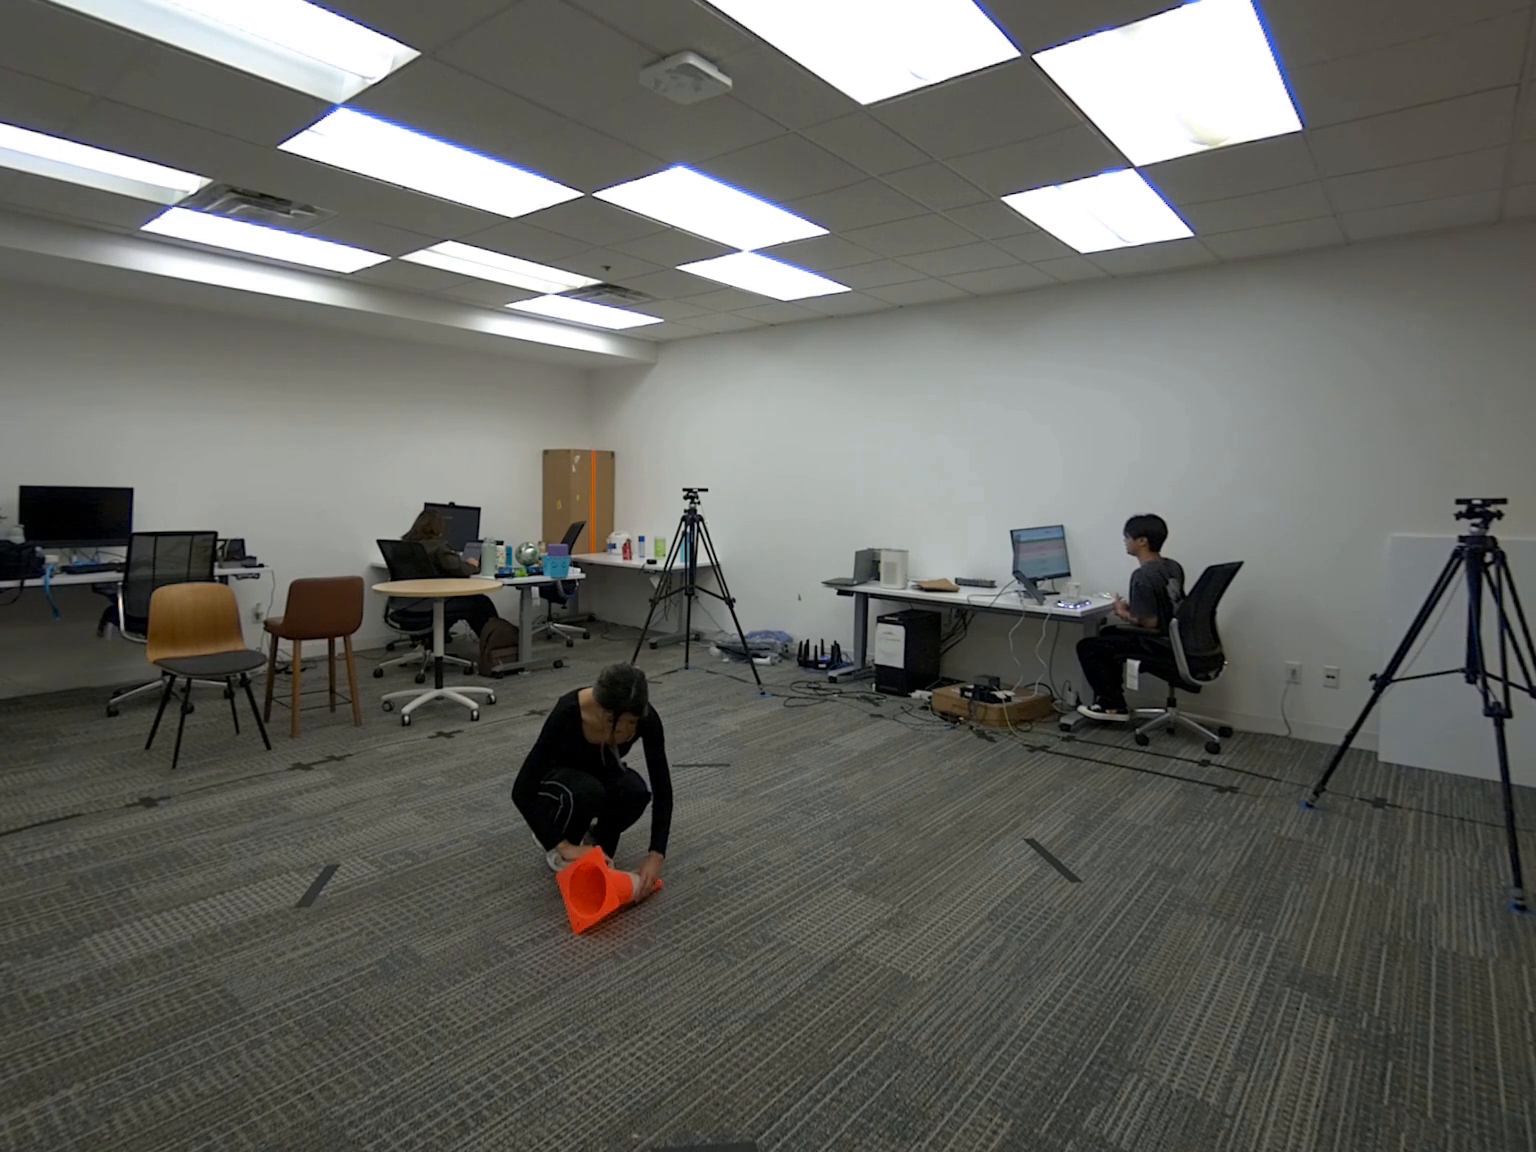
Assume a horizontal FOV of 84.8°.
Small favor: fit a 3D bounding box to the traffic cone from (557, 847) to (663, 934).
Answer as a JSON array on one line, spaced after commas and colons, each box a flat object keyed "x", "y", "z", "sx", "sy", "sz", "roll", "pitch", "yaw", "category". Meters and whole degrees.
[{"x": -0.484, "y": 1.029, "z": 2.810, "sx": 0.204, "sy": 0.212, "sz": 0.369, "roll": -37, "pitch": -30, "yaw": 16, "category": "traffic cone"}]
